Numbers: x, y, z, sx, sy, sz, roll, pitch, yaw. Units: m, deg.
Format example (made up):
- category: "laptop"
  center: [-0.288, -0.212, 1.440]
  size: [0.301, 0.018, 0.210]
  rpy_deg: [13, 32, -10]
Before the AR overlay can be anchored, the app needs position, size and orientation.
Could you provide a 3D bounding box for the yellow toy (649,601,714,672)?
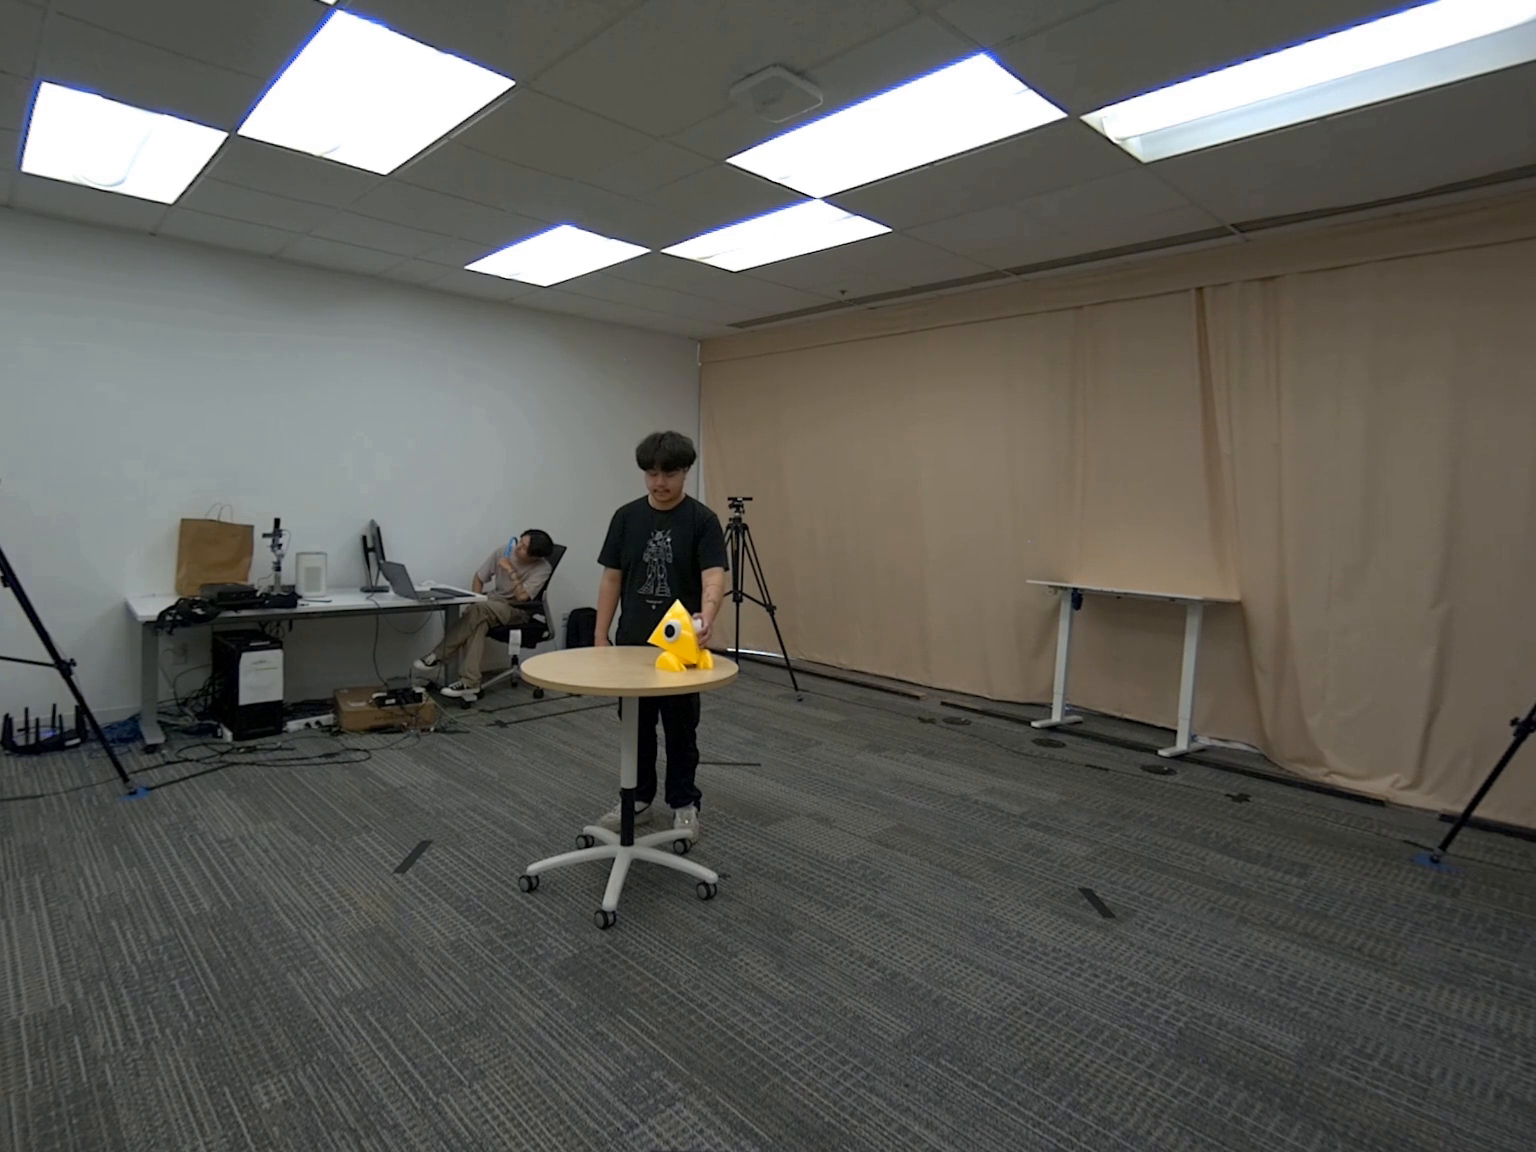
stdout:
- category: "yellow toy"
  center: [-0.319, 0.209, 3.000]
  size: [0.200, 0.230, 0.198]
  rpy_deg: [0, 5, -33]
